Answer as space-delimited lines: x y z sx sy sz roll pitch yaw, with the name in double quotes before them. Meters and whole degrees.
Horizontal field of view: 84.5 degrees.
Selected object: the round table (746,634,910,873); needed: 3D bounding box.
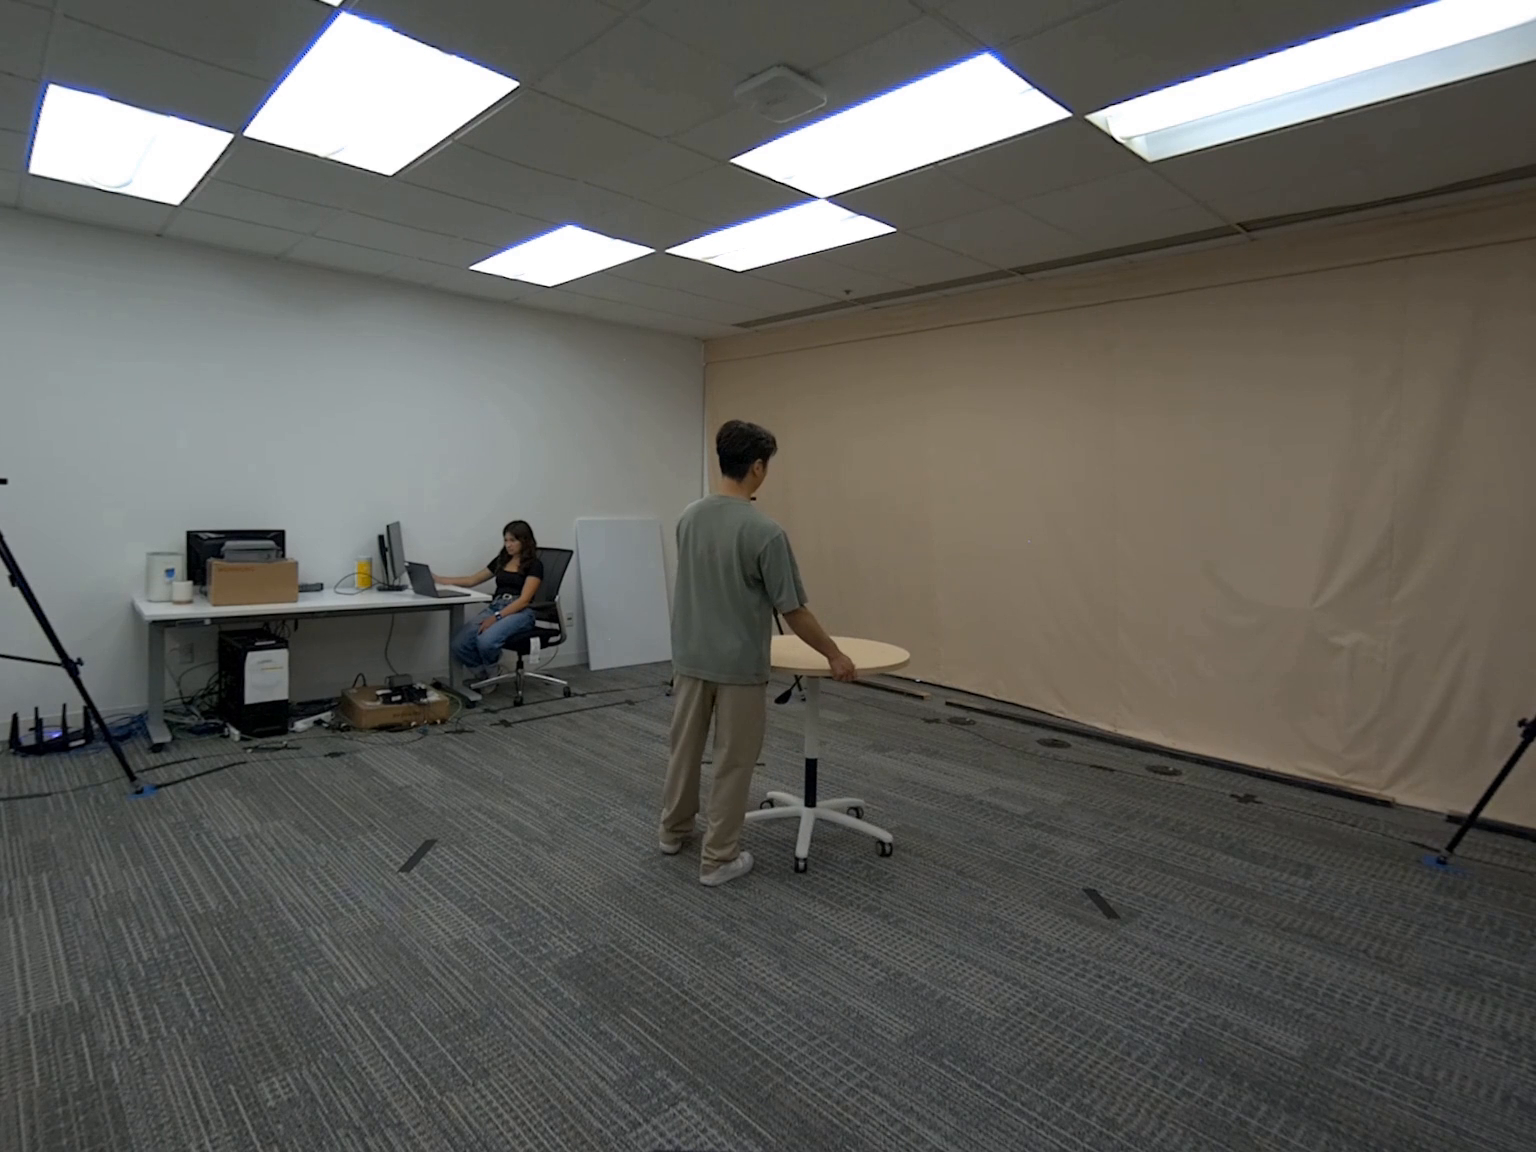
"round table" 0.183 0.690 3.453 0.784 0.784 0.788 1 4 -1
